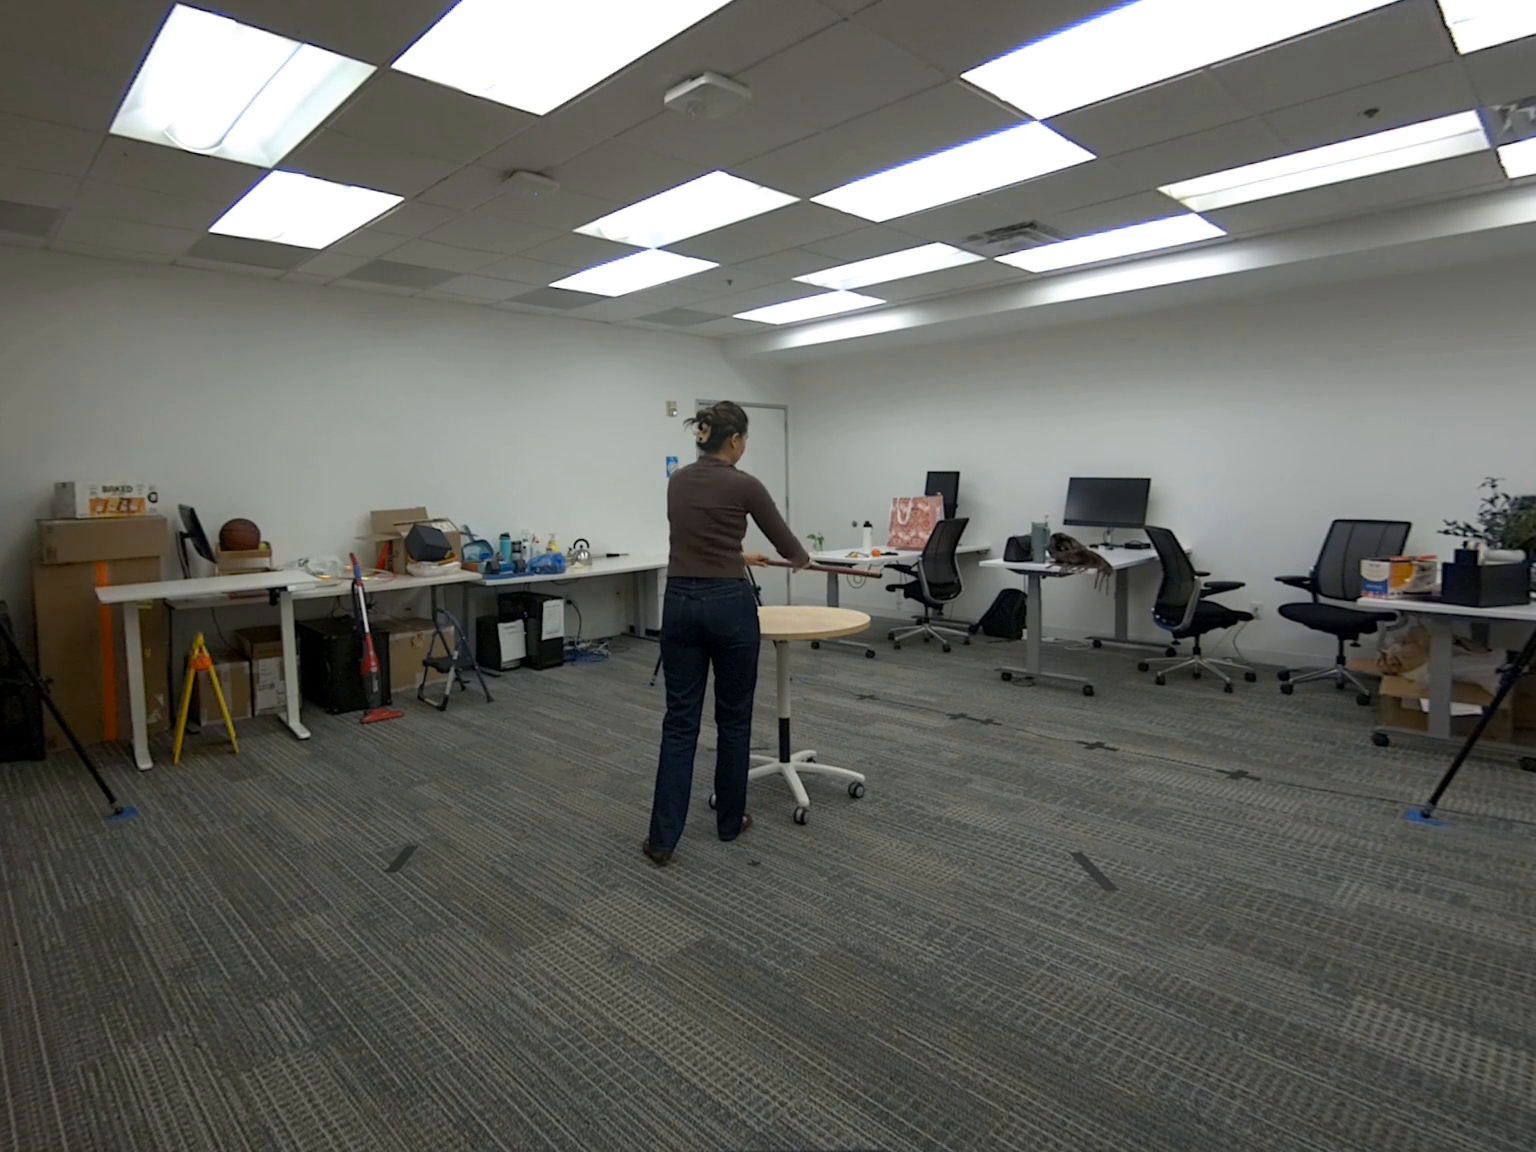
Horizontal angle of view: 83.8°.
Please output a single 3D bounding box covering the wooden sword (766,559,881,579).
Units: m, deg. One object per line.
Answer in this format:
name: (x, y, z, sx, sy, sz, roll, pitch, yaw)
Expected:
wooden sword: (0.032, -0.058, 3.738, 1.052, 0.050, 0.024, 5, 27, 29)
